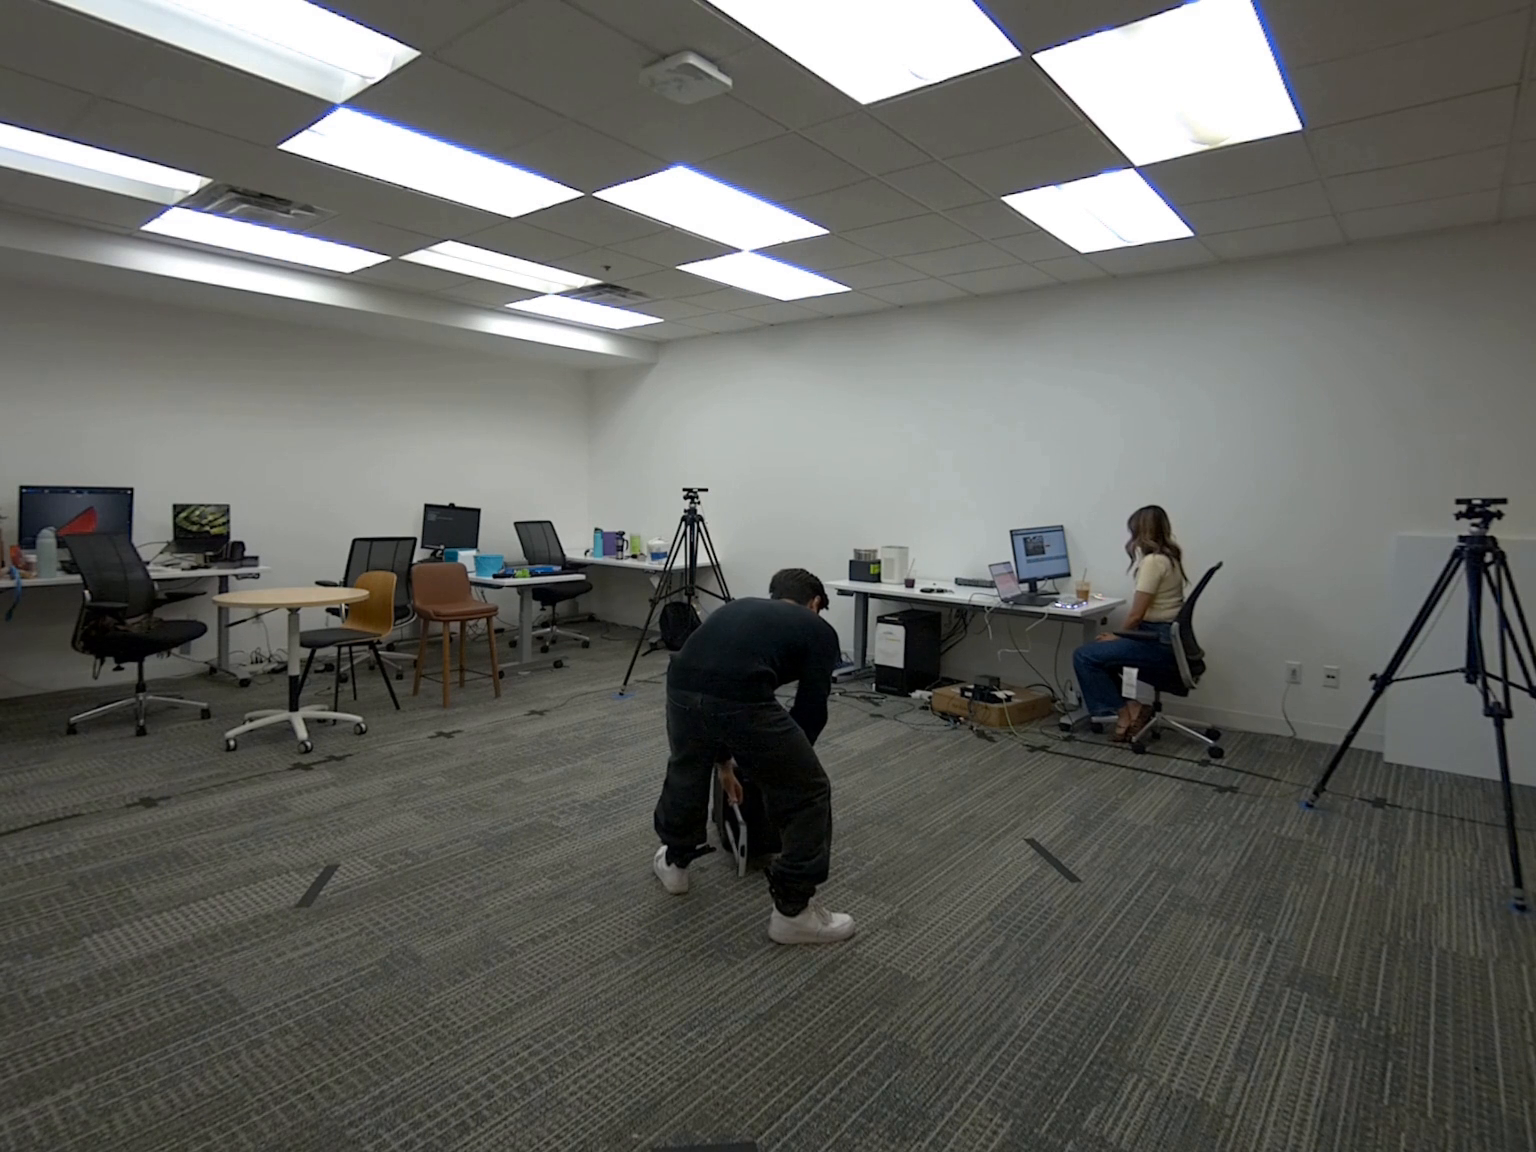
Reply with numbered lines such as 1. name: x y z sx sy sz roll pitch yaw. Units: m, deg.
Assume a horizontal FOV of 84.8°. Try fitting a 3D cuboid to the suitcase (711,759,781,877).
1. suitcase: -0.046 0.844 3.126 0.255 0.384 0.986 1 0 -9
